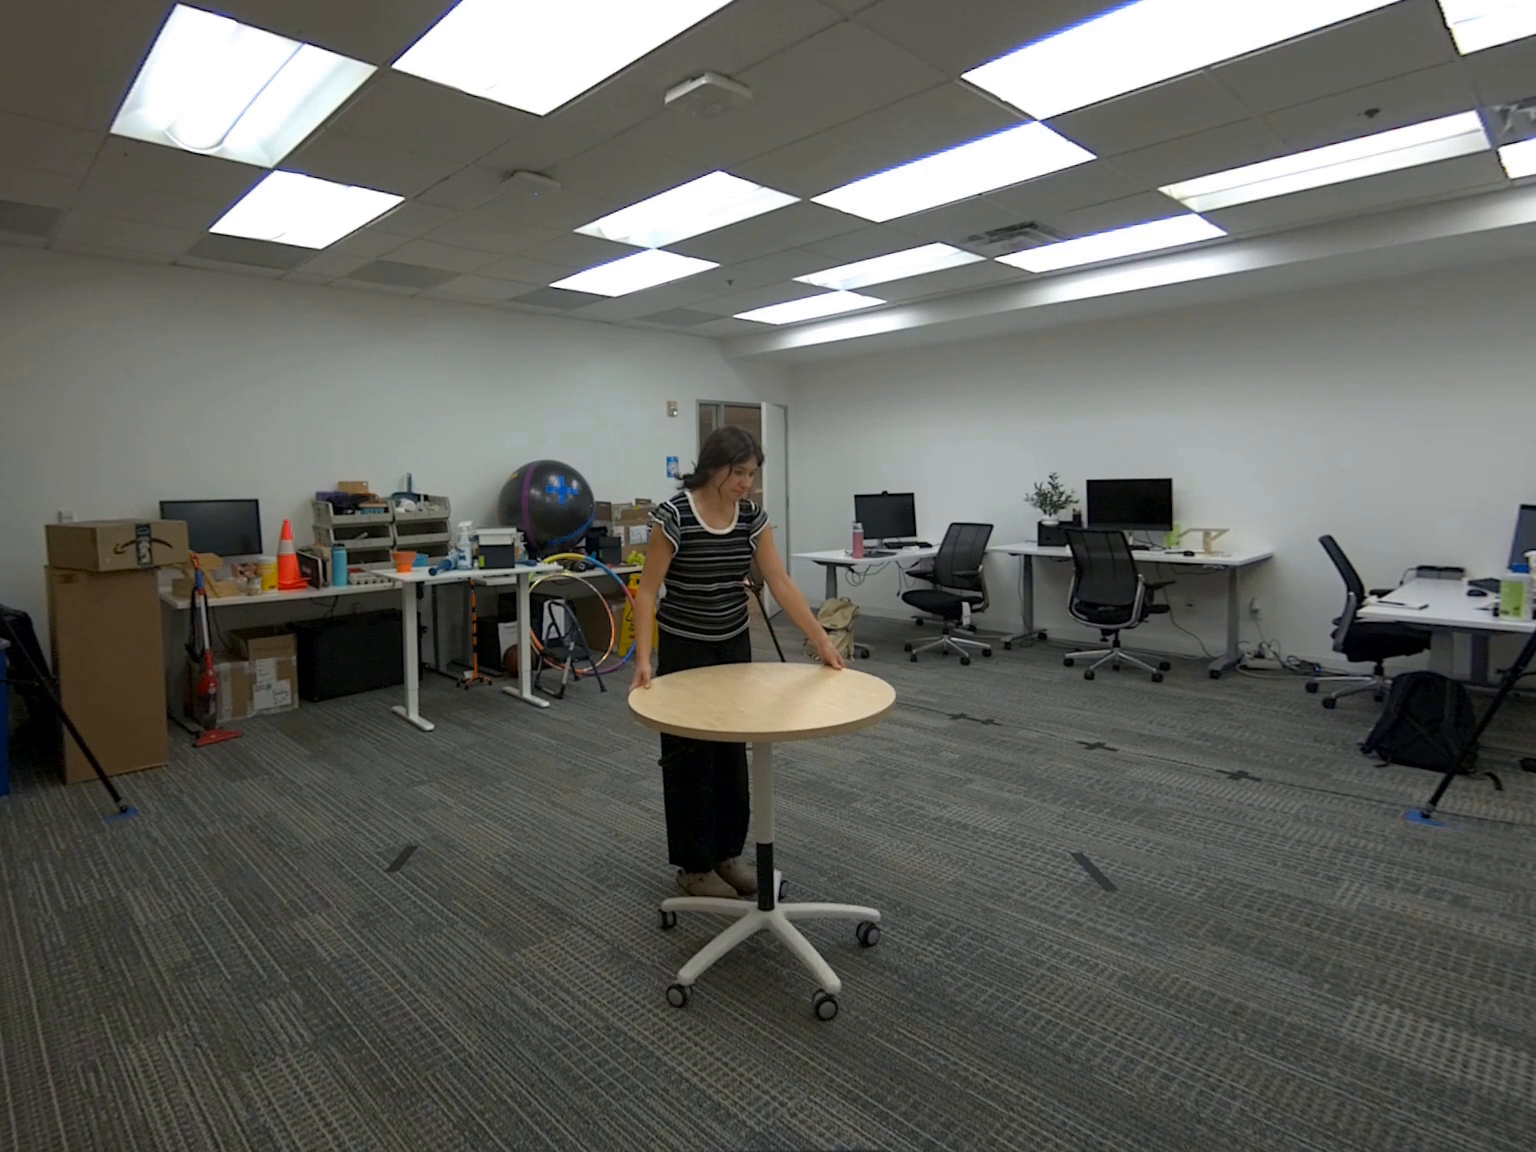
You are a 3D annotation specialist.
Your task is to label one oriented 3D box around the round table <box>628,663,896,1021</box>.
[{"bbox_3d":[-0.021,0.724,2.486,0.784,0.784,0.789,-2,5,-2],"label":"round table"}]
